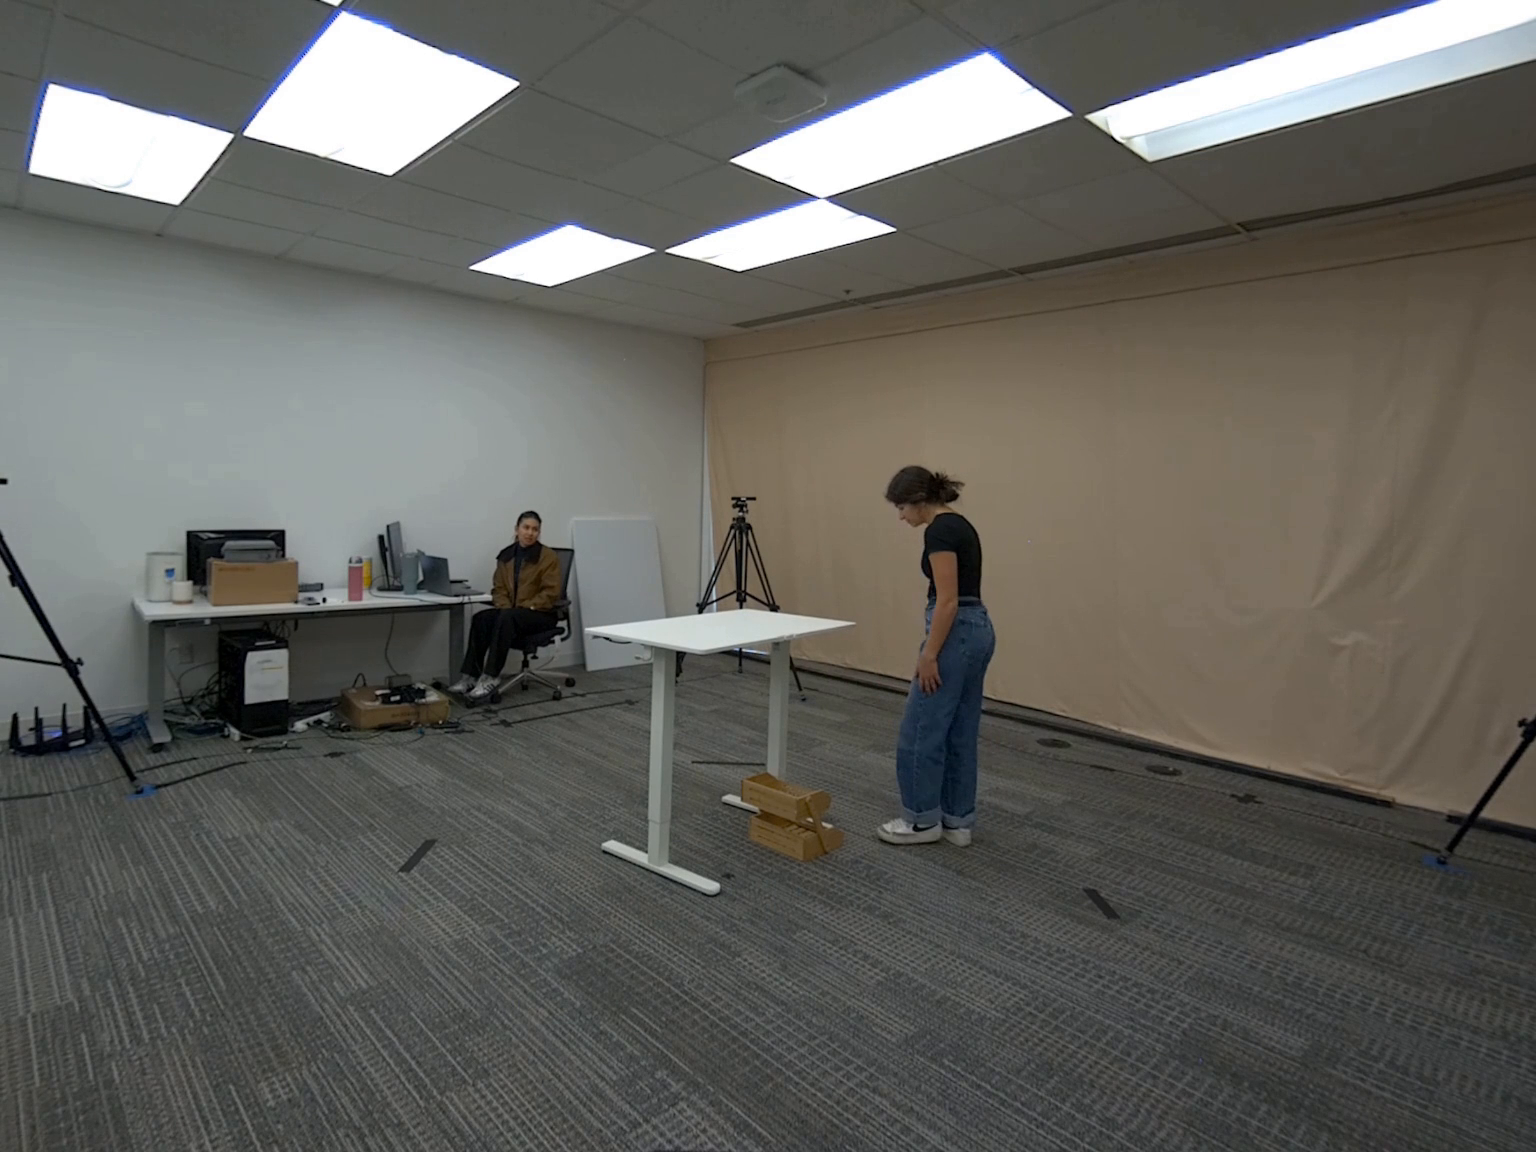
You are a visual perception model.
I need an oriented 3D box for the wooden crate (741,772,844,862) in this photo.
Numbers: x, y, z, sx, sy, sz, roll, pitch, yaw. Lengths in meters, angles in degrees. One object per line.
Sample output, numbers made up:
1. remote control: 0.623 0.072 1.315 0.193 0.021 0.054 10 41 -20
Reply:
1. wooden crate: 0.094 0.952 3.408 0.333 0.272 0.295 5 6 43
